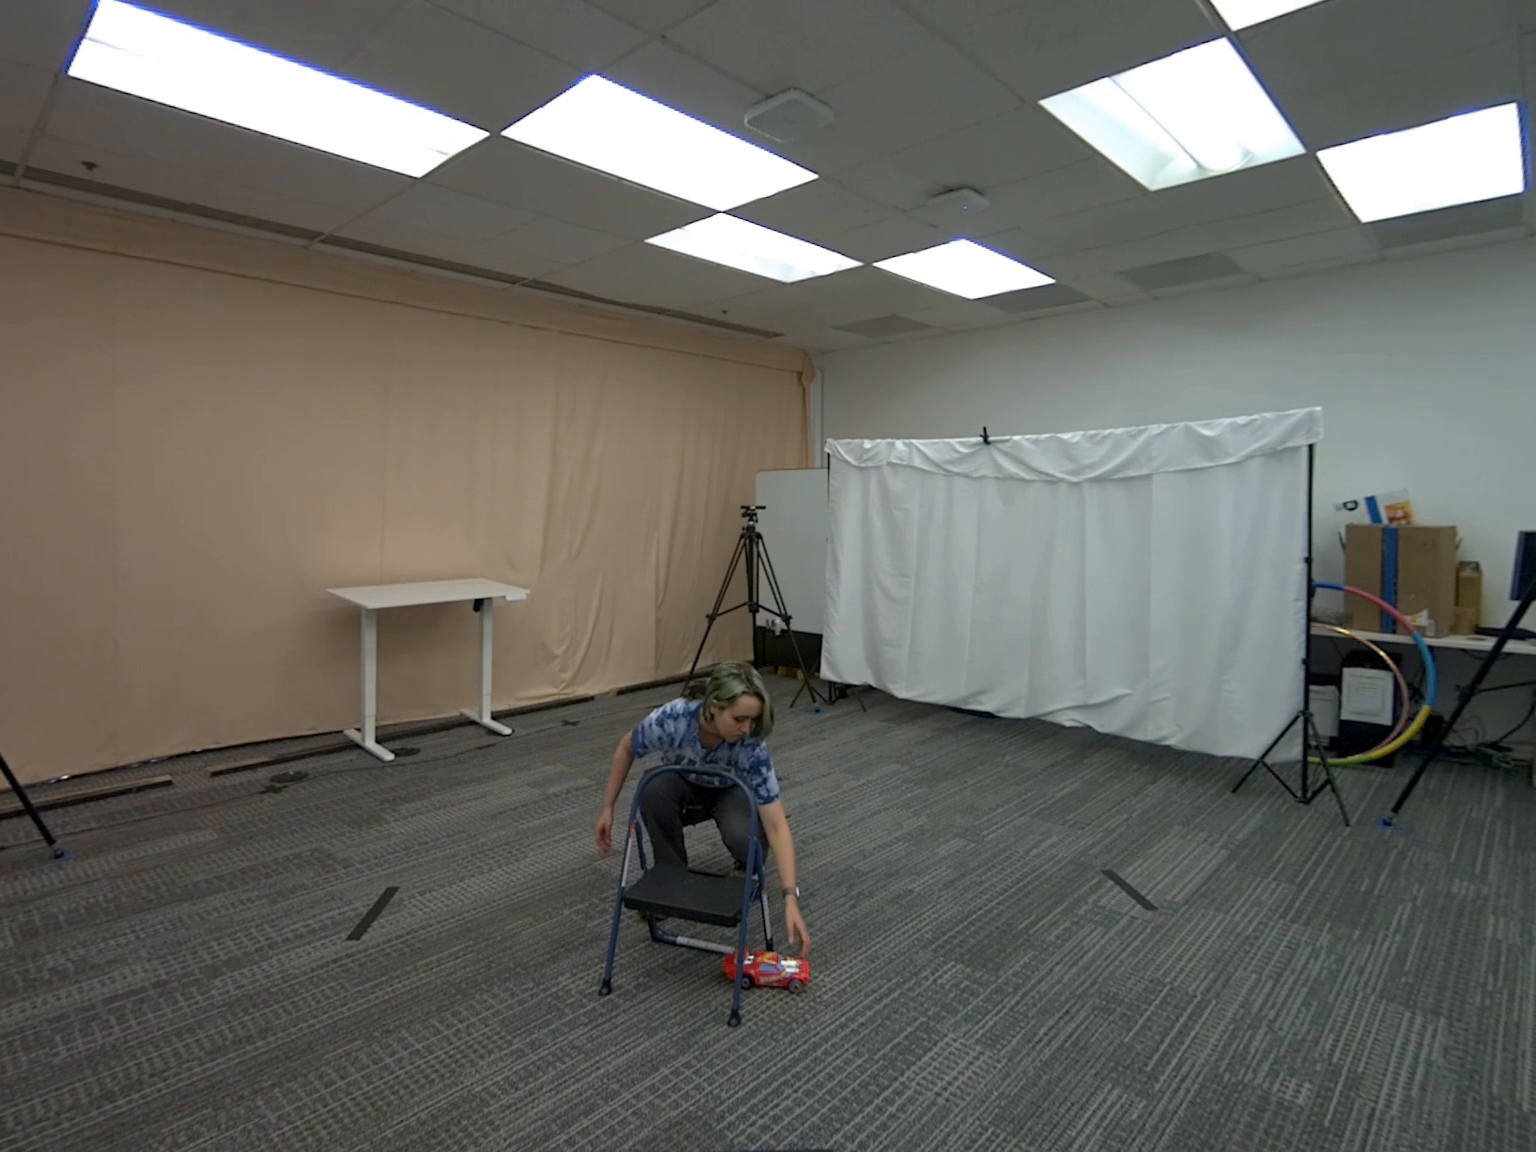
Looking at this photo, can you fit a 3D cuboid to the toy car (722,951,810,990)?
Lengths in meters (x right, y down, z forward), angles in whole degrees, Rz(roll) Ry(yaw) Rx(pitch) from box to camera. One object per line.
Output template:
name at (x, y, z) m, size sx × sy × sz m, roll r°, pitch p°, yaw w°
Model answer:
toy car at (-0.005, 1.161, 2.478) m, size 0.256 × 0.083 × 0.130 m, roll 12°, pitch 9°, yaw 5°
